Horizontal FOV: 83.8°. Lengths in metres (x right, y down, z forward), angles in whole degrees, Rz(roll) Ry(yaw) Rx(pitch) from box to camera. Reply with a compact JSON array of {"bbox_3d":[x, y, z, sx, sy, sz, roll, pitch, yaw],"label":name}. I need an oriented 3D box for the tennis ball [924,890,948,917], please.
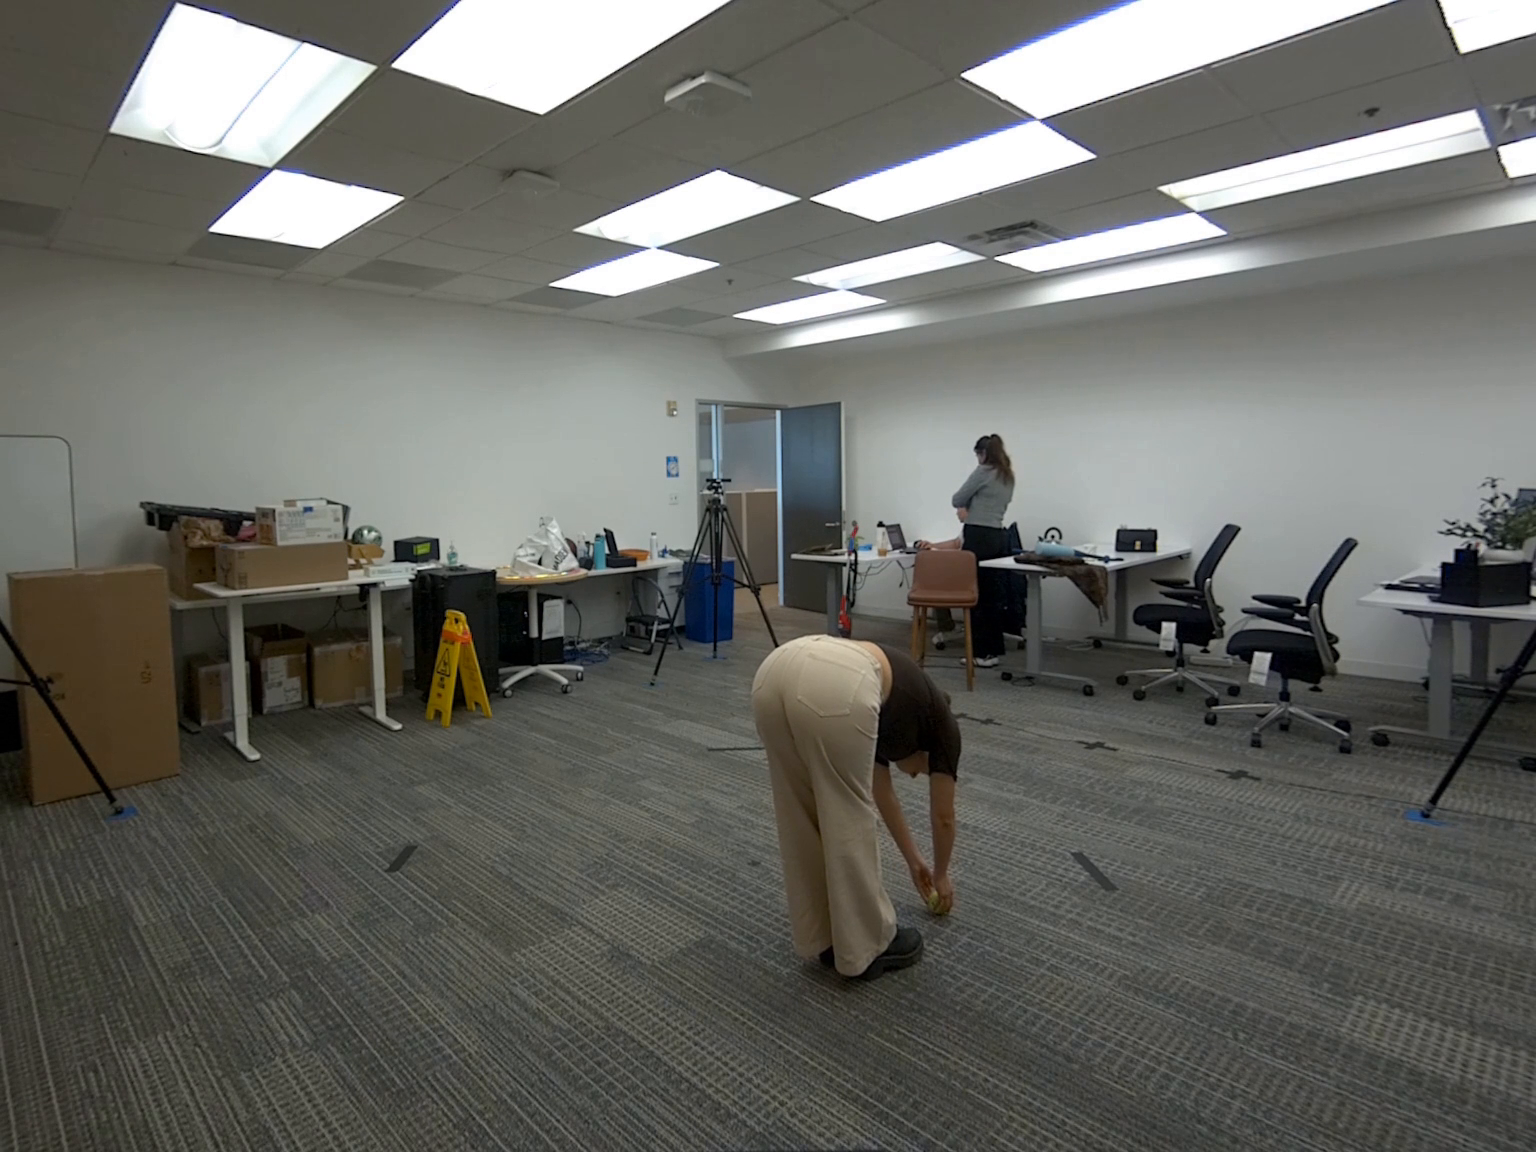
[{"bbox_3d":[0.546,1.032,2.726,0.066,0.066,0.067,-1,5,-2],"label":"tennis ball"}]
